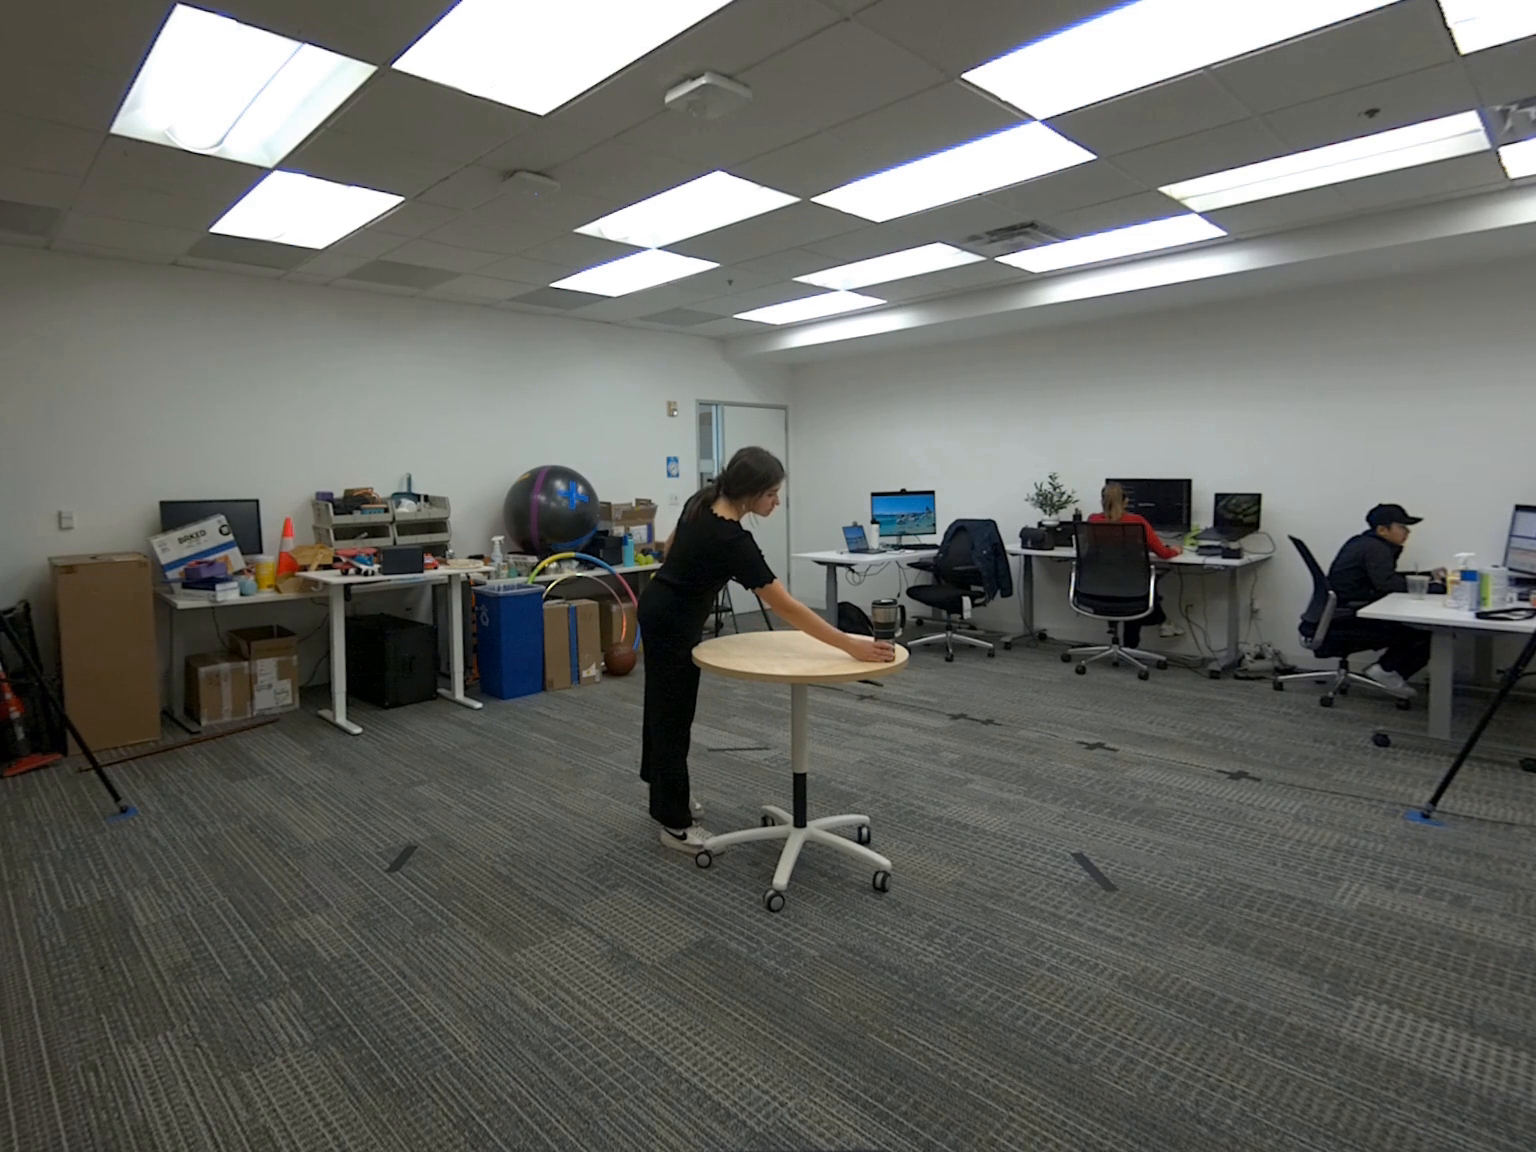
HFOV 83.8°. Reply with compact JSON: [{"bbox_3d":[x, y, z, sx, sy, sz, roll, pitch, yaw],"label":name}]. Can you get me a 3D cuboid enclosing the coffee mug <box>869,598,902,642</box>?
[{"bbox_3d":[0.409,0.178,2.886,0.123,0.203,0.087,-4,-1,7],"label":"coffee mug"}]
